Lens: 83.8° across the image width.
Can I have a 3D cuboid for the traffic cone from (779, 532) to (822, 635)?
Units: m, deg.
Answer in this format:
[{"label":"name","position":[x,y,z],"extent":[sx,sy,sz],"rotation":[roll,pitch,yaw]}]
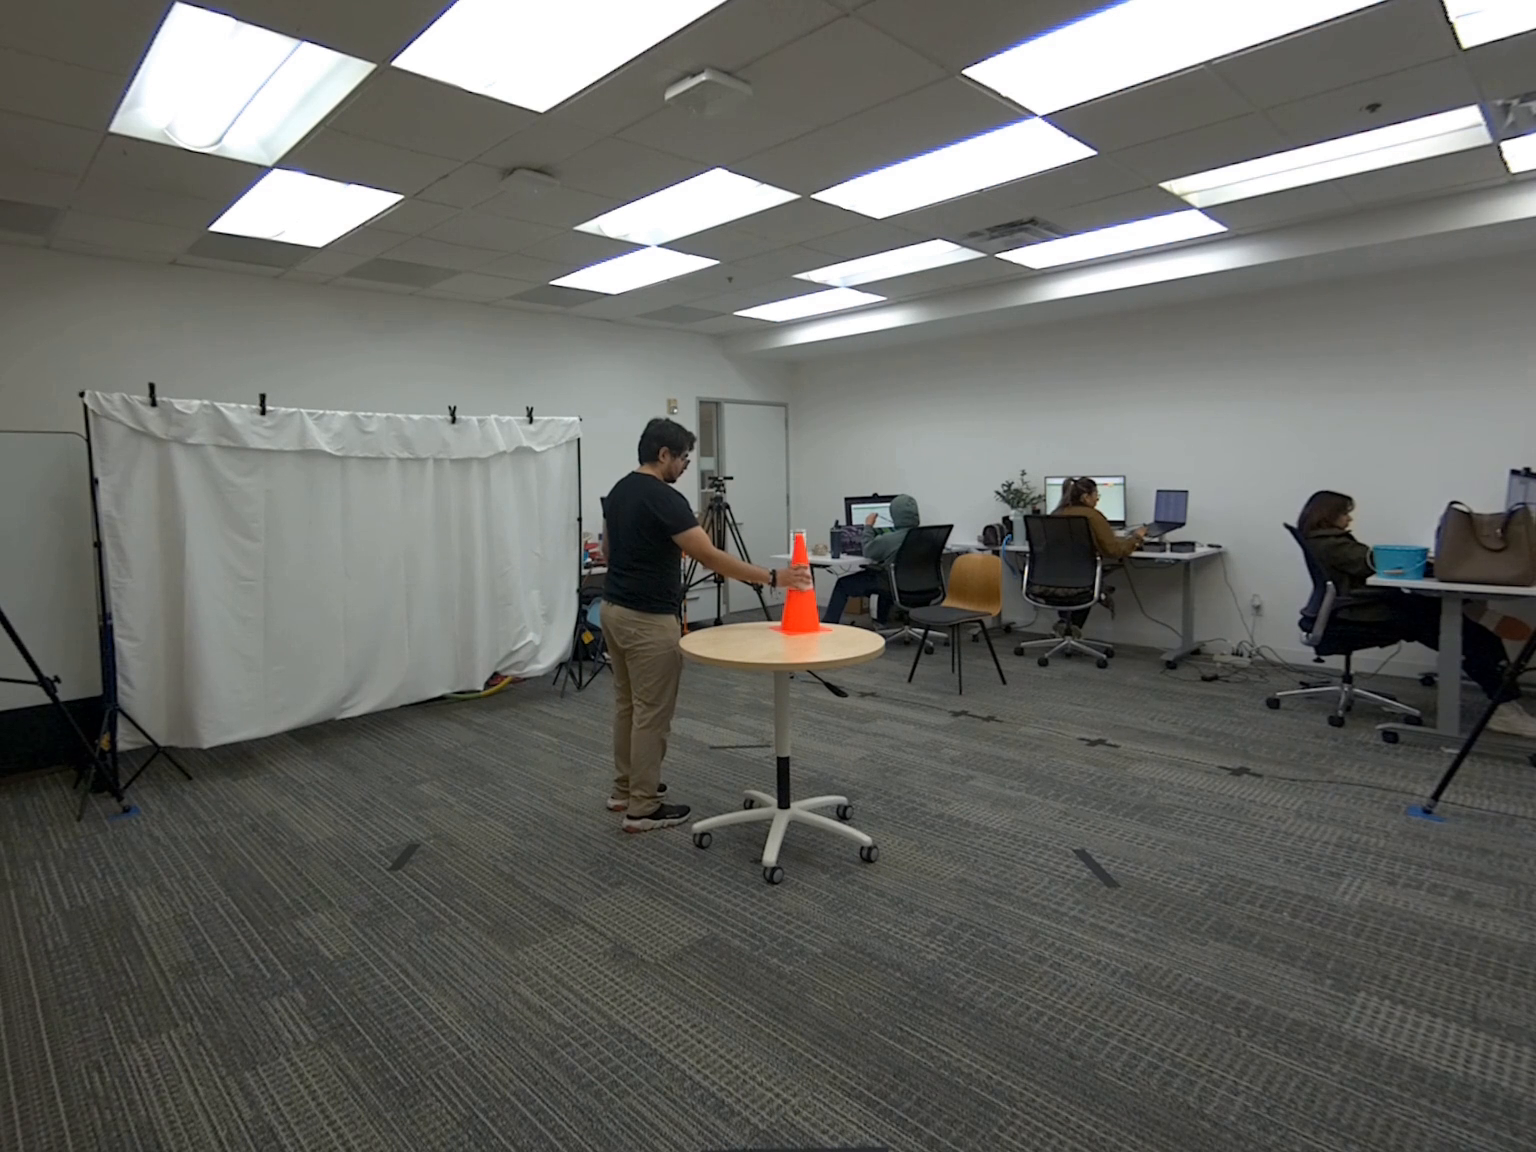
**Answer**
[{"label":"traffic cone","position":[0.121,0.025,3.390],"extent":[0.200,0.382,0.209],"rotation":[-5,7,-30]}]
